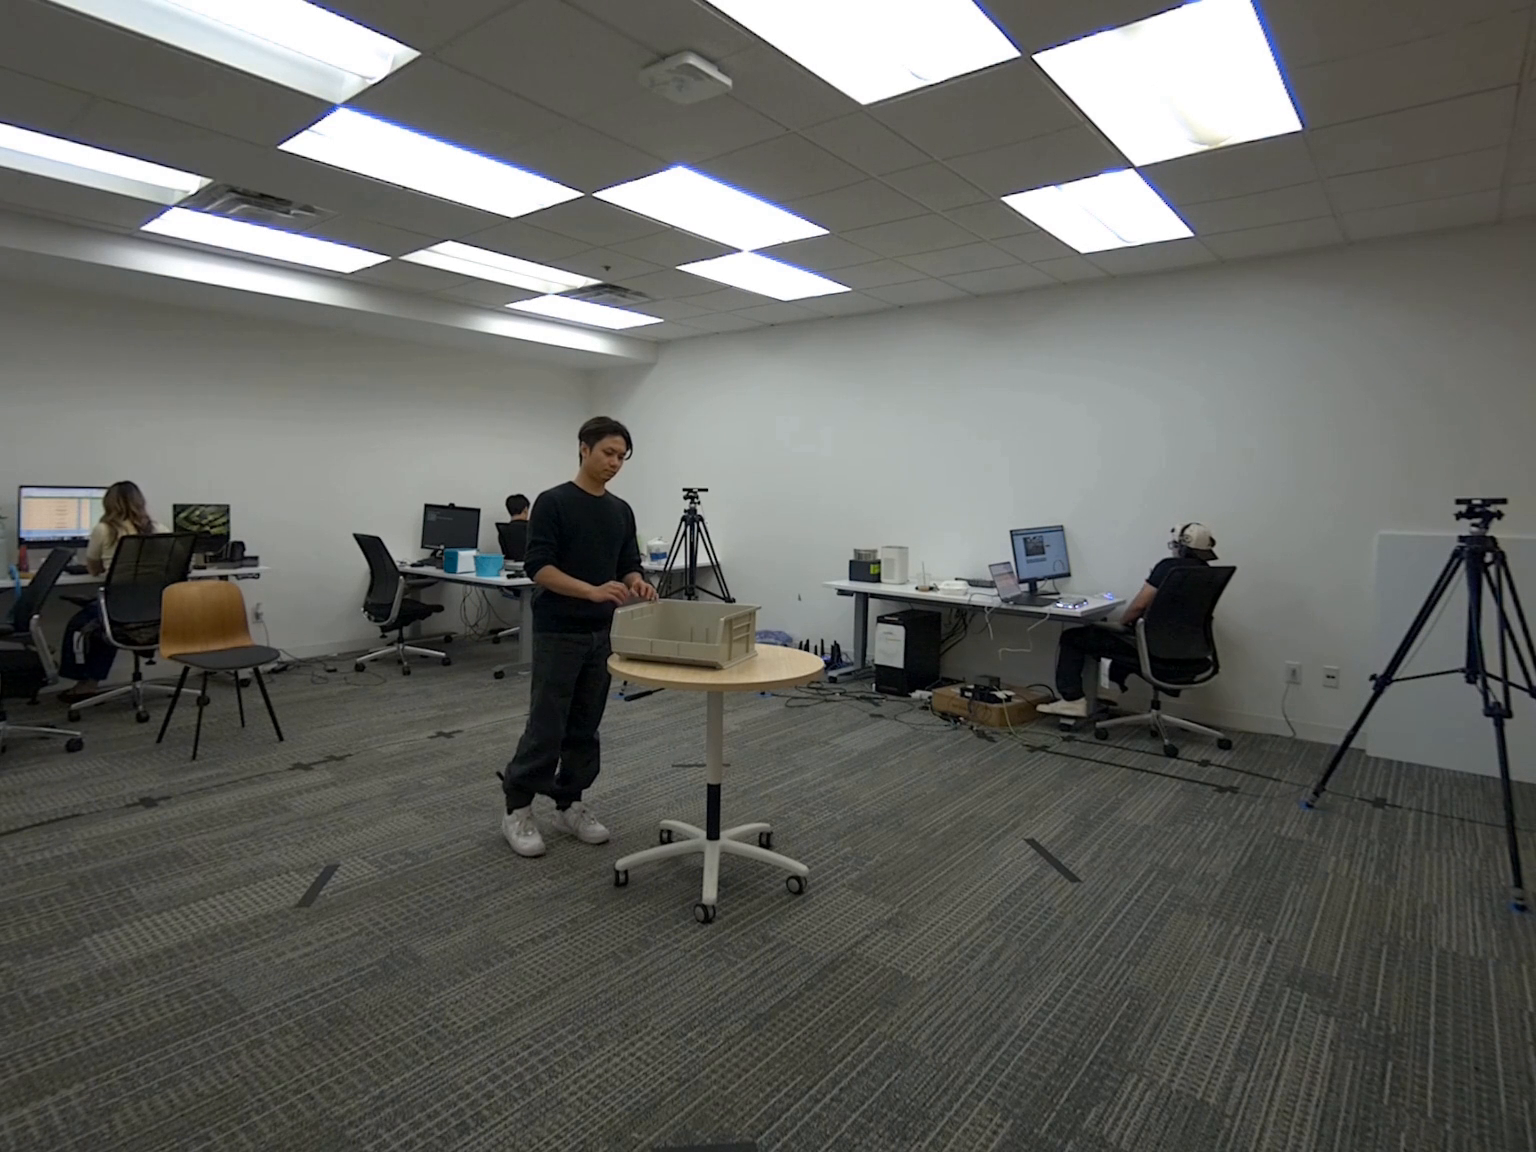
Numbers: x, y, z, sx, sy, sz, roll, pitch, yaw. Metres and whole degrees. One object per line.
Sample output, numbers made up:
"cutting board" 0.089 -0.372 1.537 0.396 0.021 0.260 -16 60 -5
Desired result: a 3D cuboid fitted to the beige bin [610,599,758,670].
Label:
"beige bin" -0.296 0.201 3.045 0.432 0.189 0.369 2 3 22
